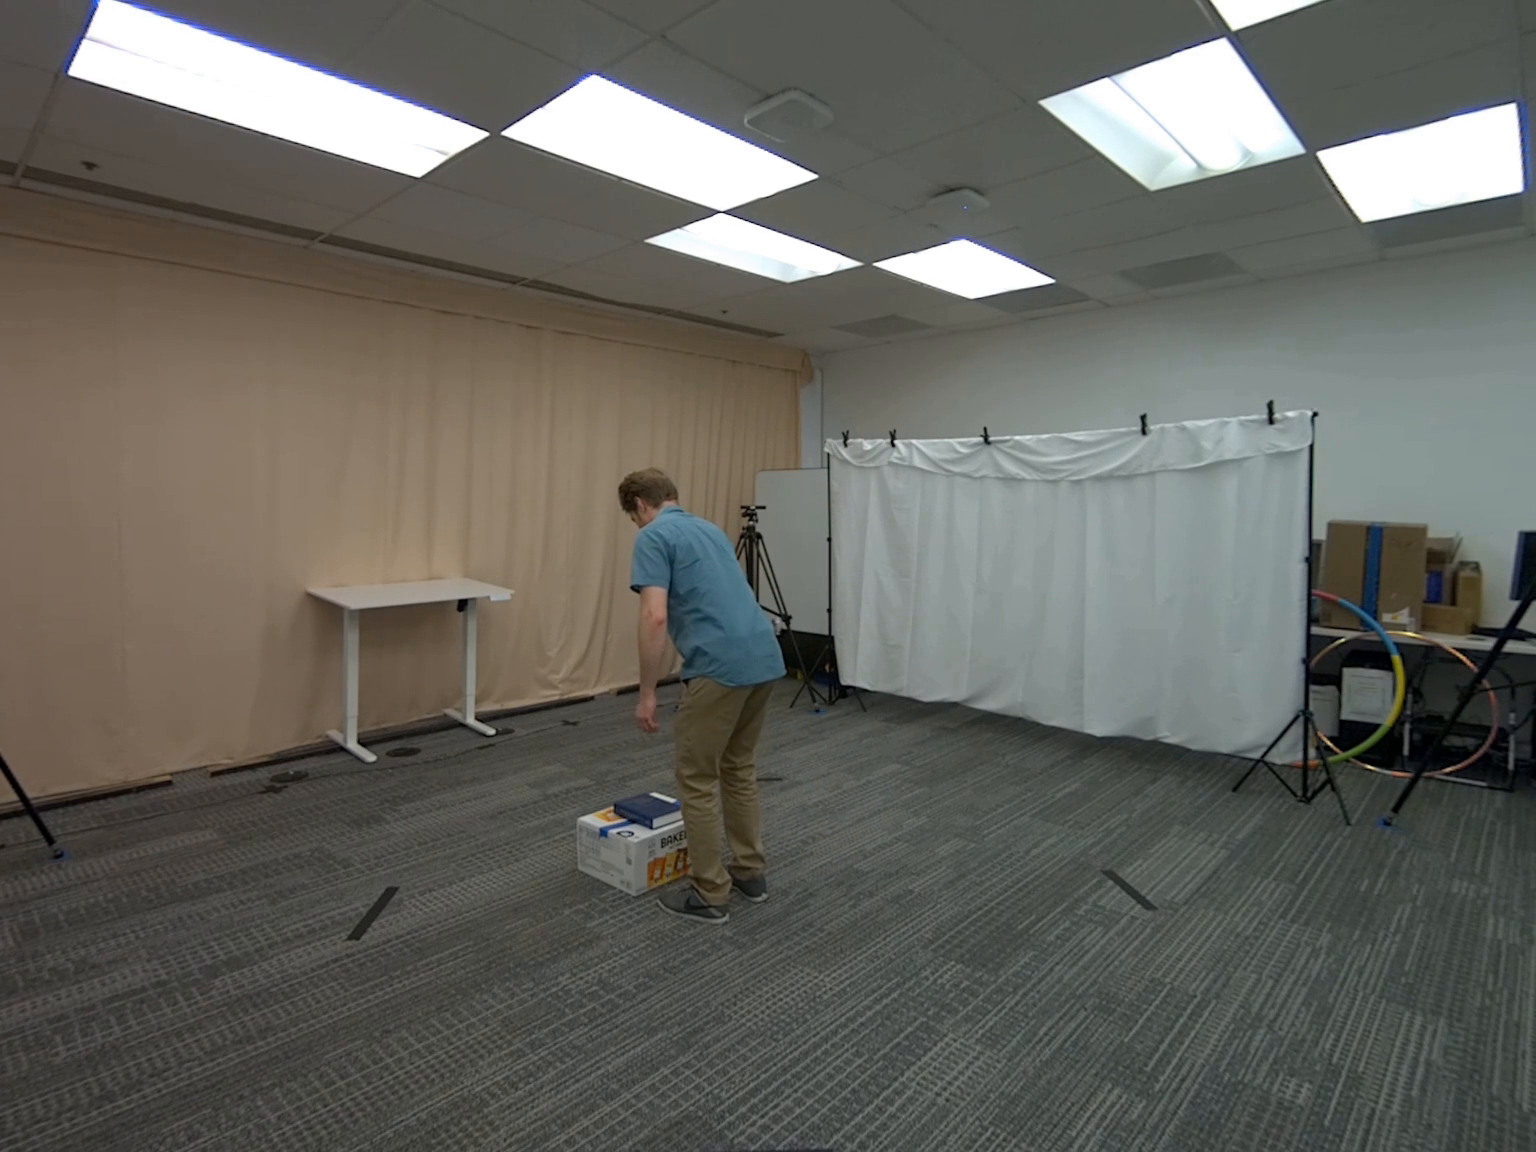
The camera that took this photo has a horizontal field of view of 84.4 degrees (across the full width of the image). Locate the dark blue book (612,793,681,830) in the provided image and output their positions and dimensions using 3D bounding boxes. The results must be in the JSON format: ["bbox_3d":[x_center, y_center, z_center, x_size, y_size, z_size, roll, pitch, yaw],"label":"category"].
[{"bbox_3d":[-0.465,0.910,3.252,0.253,0.045,0.158,3,6,44],"label":"dark blue book"}]
